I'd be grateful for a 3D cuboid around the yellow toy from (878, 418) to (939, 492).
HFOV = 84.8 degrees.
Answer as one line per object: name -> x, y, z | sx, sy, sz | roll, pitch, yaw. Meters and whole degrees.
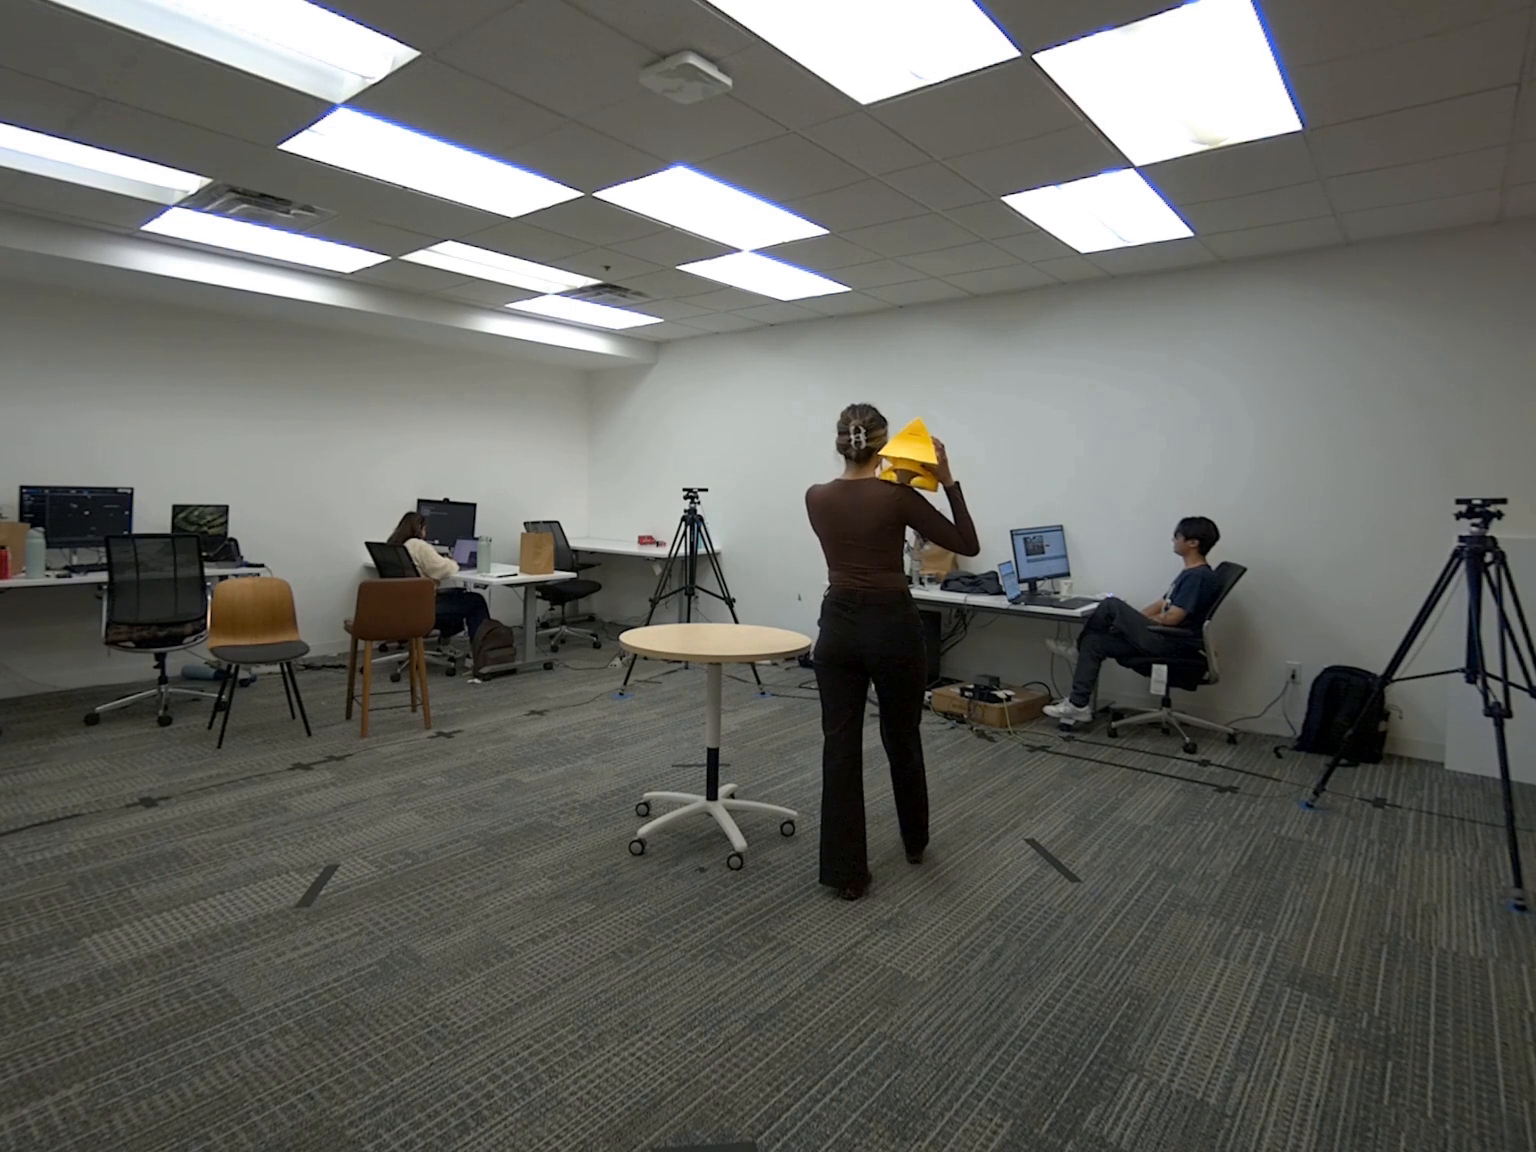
yellow toy -> 0.496, -0.429, 2.929 | 0.210, 0.230, 0.188 | 13, 1, 22
